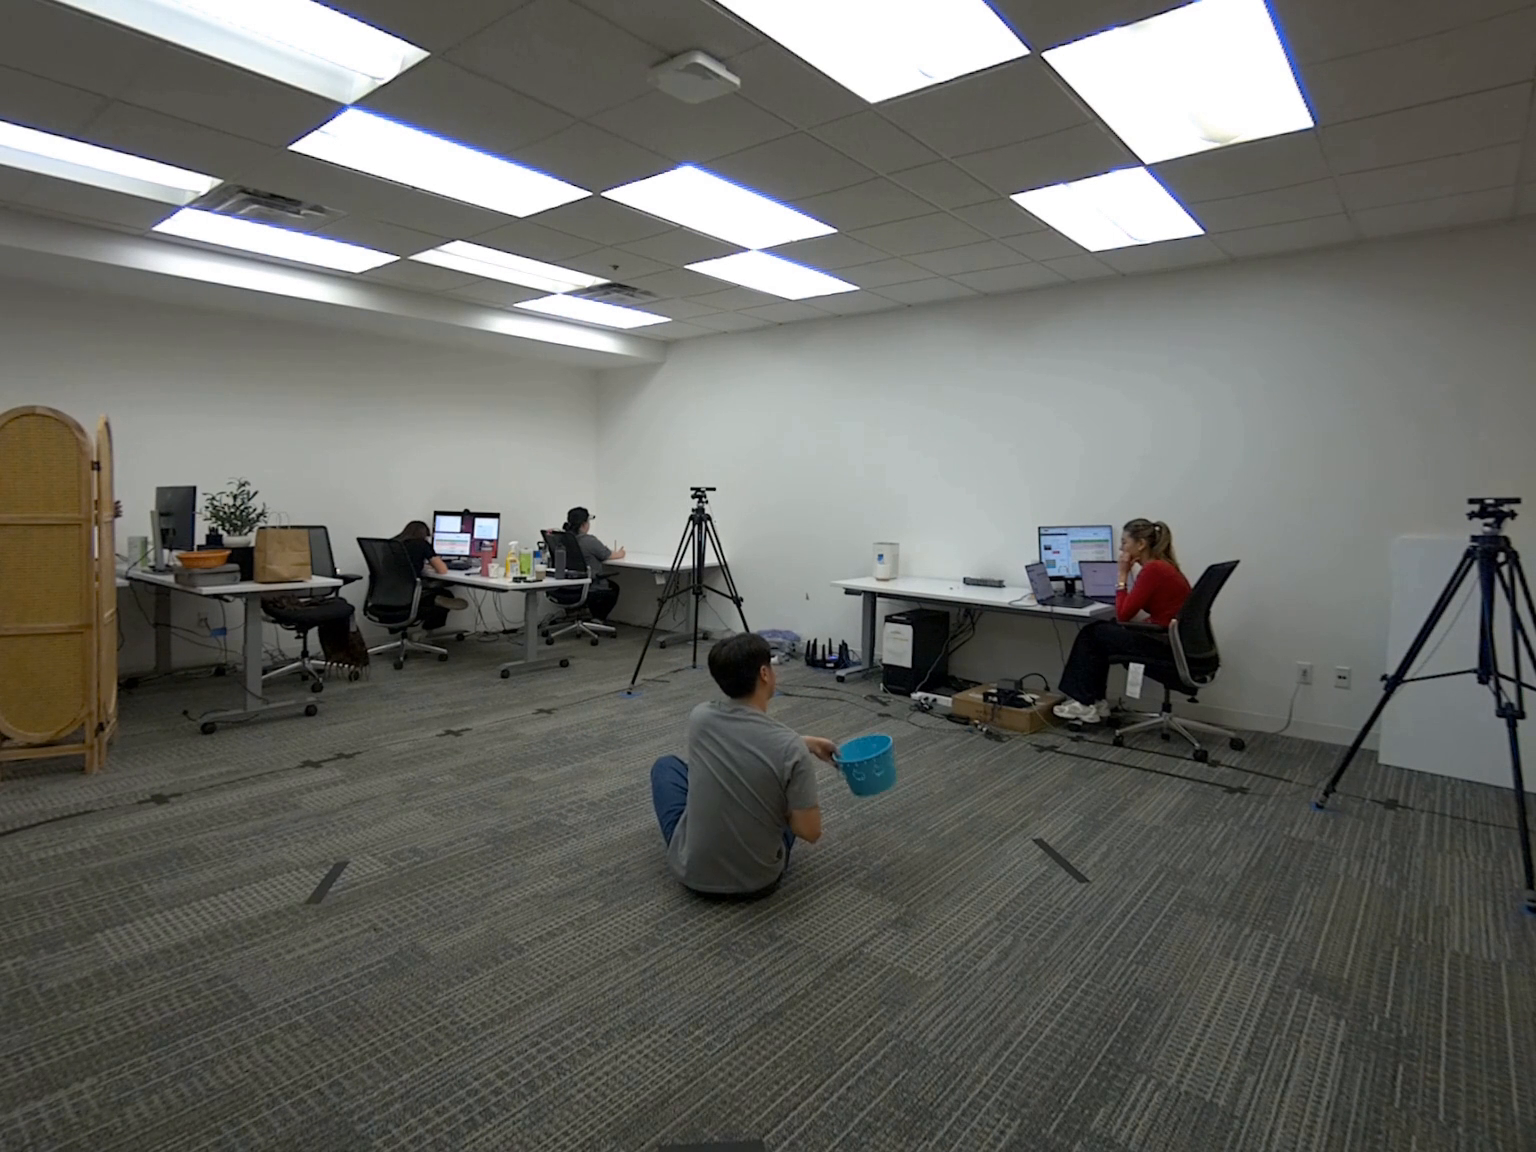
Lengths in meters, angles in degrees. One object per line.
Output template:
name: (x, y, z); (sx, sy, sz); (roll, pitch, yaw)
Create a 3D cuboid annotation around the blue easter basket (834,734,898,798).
blue easter basket: (0.349, 0.708, 3.212); (0.244, 0.155, 0.245); (-17, 7, 0)
